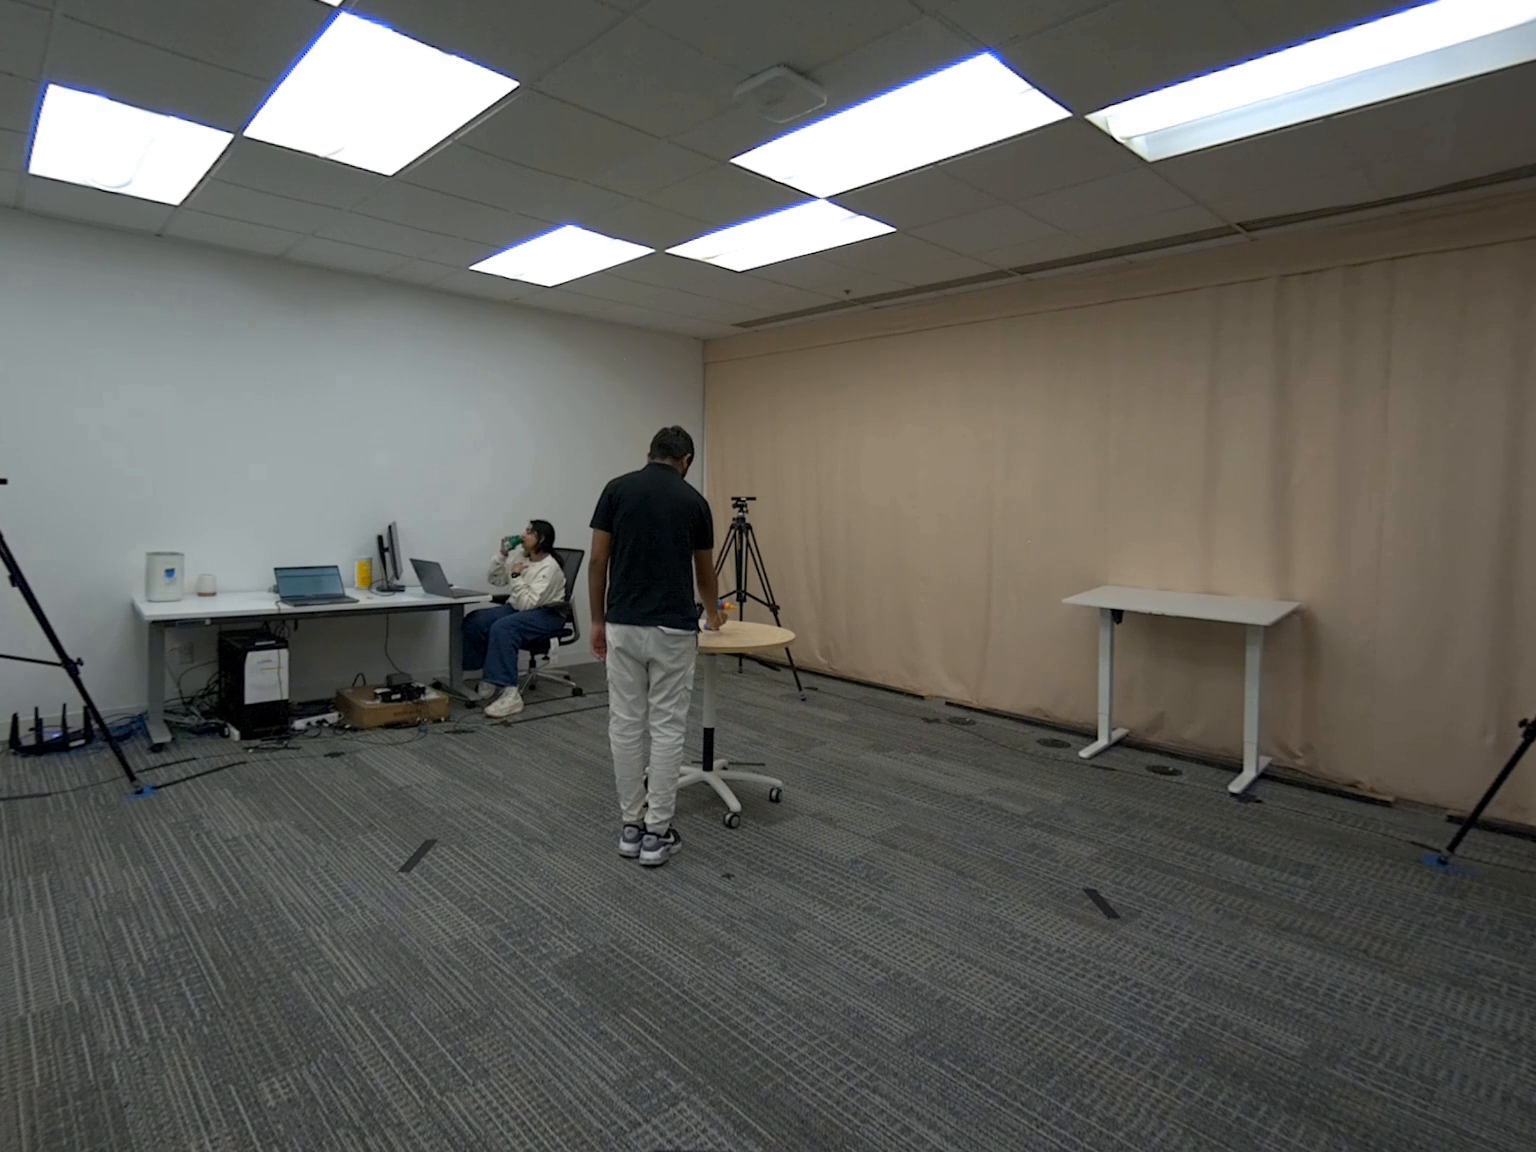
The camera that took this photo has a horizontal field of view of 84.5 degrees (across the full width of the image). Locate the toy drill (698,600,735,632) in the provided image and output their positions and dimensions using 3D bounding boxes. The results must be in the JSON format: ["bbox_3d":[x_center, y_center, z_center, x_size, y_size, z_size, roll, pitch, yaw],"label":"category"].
[{"bbox_3d":[-0.236,0.179,3.900,0.172,0.145,0.060,5,5,17],"label":"toy drill"}]
